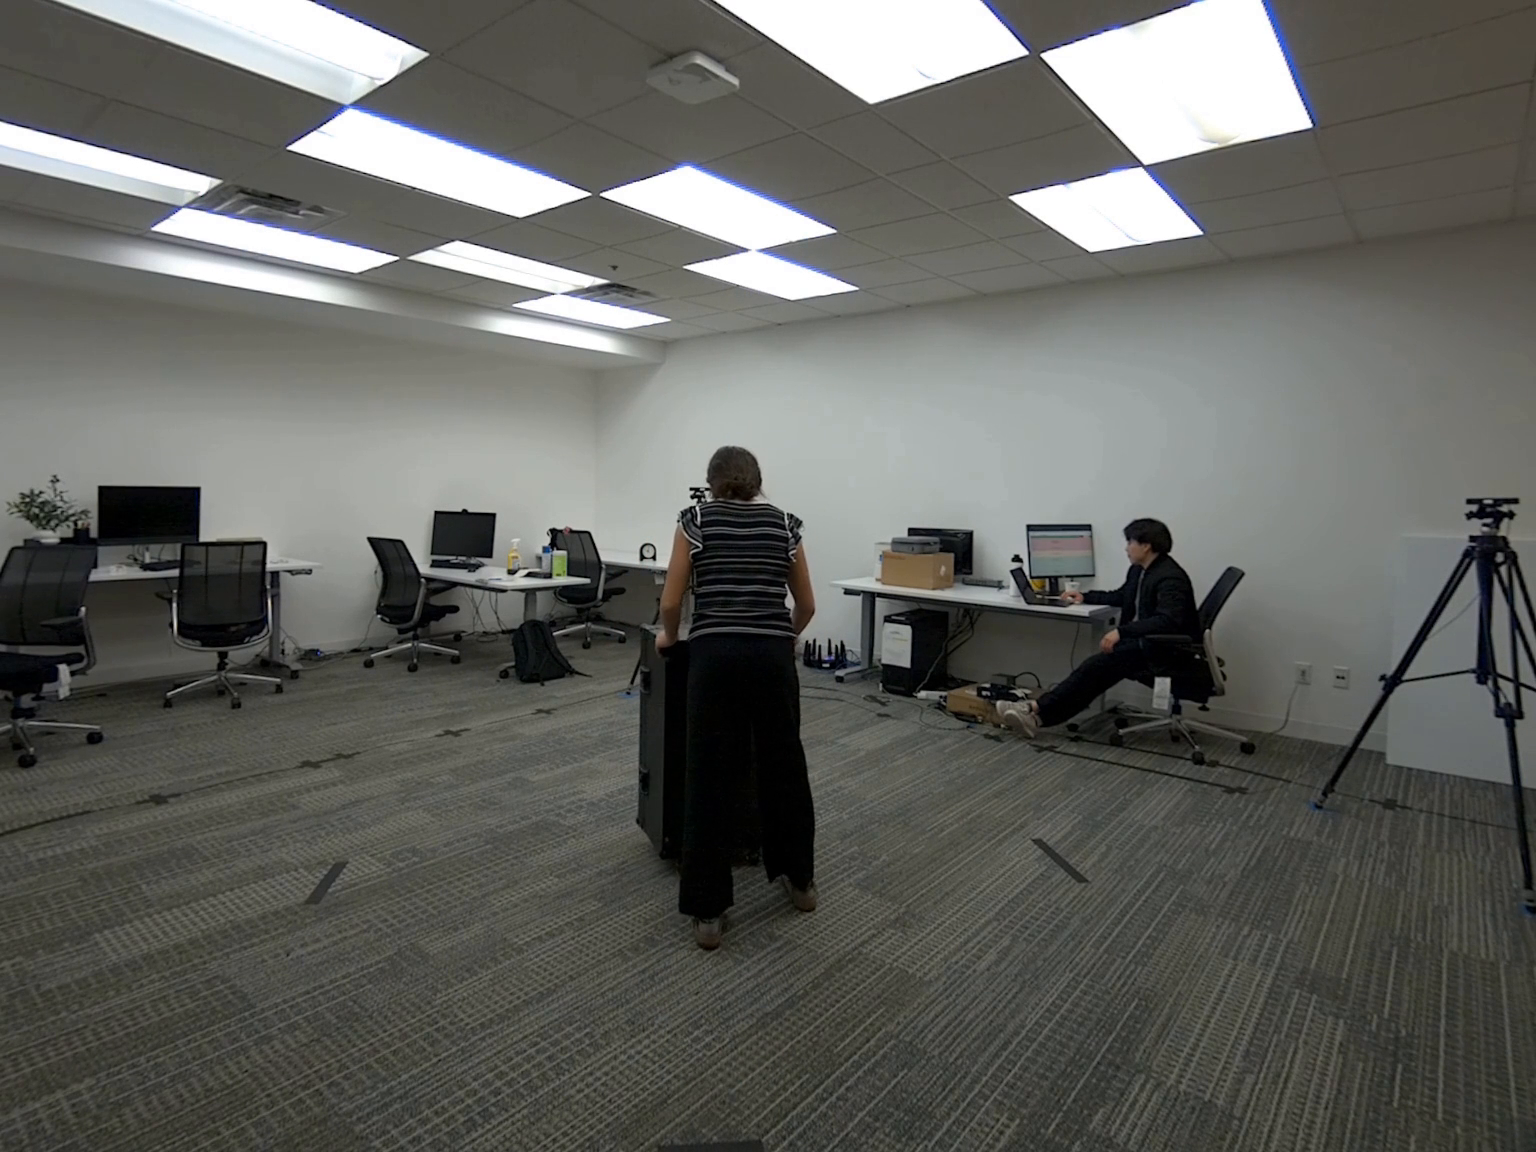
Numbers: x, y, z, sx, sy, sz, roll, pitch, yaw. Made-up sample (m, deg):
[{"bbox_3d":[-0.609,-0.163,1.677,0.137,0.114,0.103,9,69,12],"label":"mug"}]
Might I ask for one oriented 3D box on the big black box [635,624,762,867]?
[{"bbox_3d":[-0.220,0.628,3.227,0.510,0.859,0.406,0,4,-21],"label":"big black box"}]
